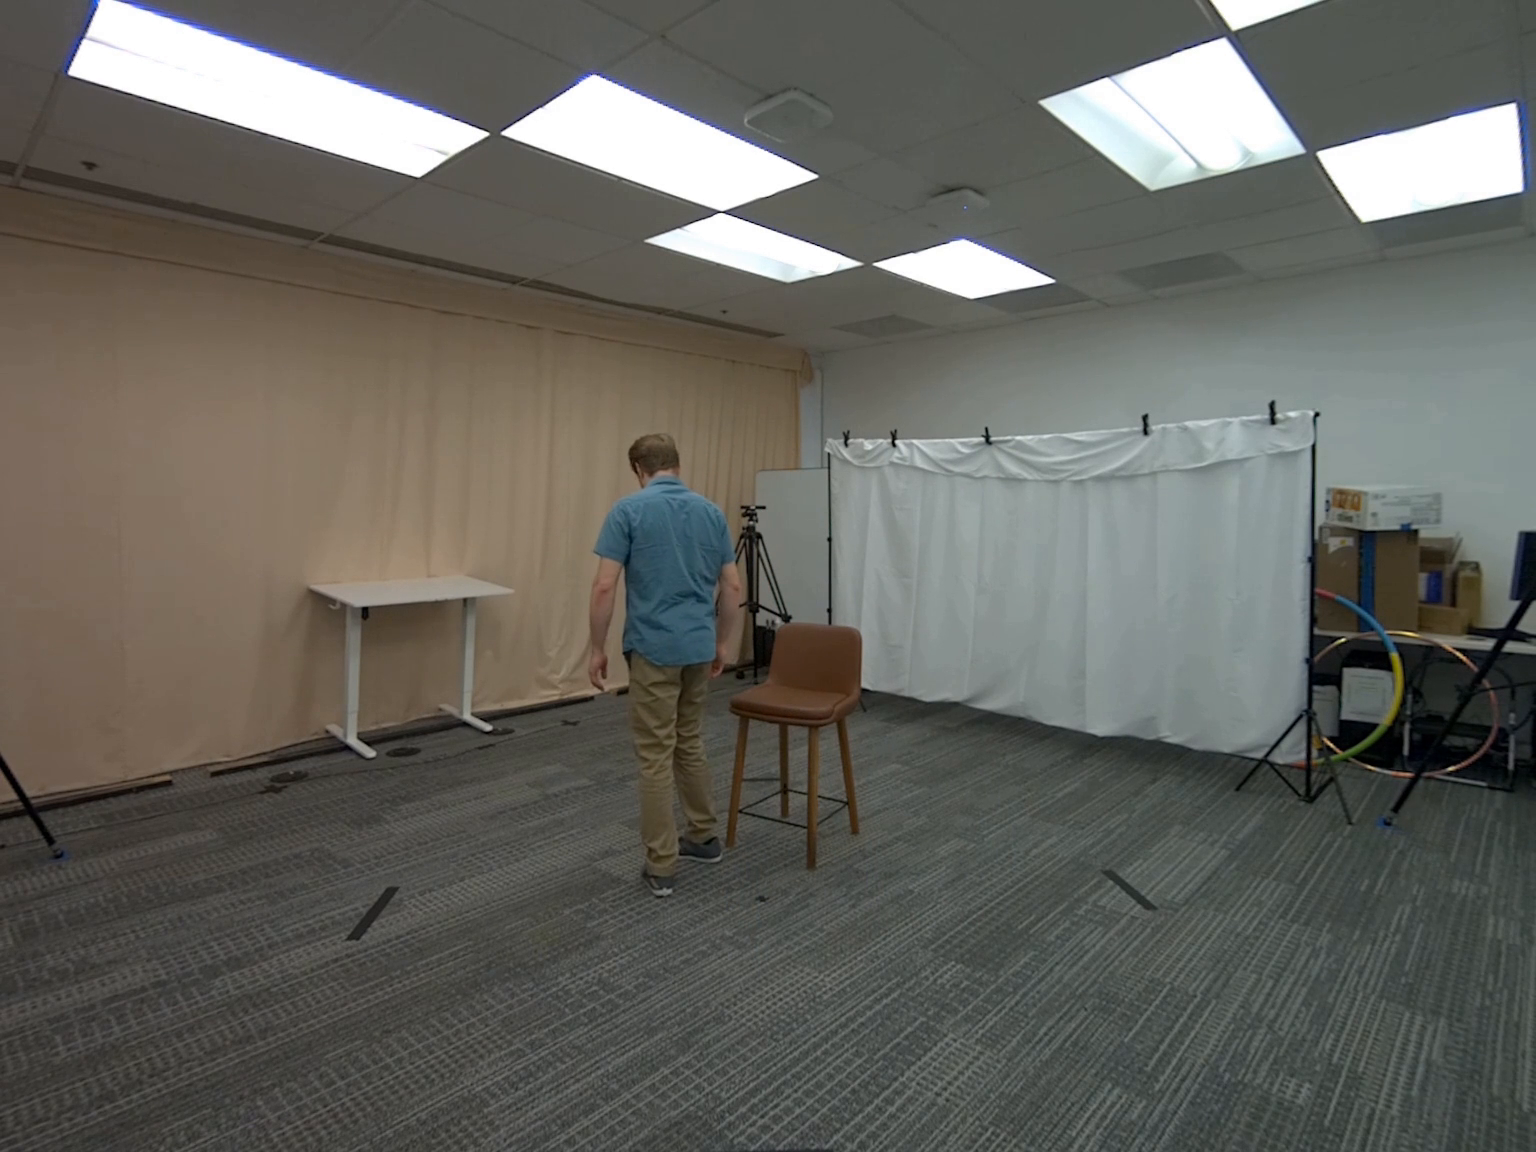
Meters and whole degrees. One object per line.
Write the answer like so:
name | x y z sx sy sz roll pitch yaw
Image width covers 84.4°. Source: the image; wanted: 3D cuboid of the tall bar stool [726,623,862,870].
tall bar stool | 0.120 0.666 3.488 0.471 0.889 0.454 2 2 34
